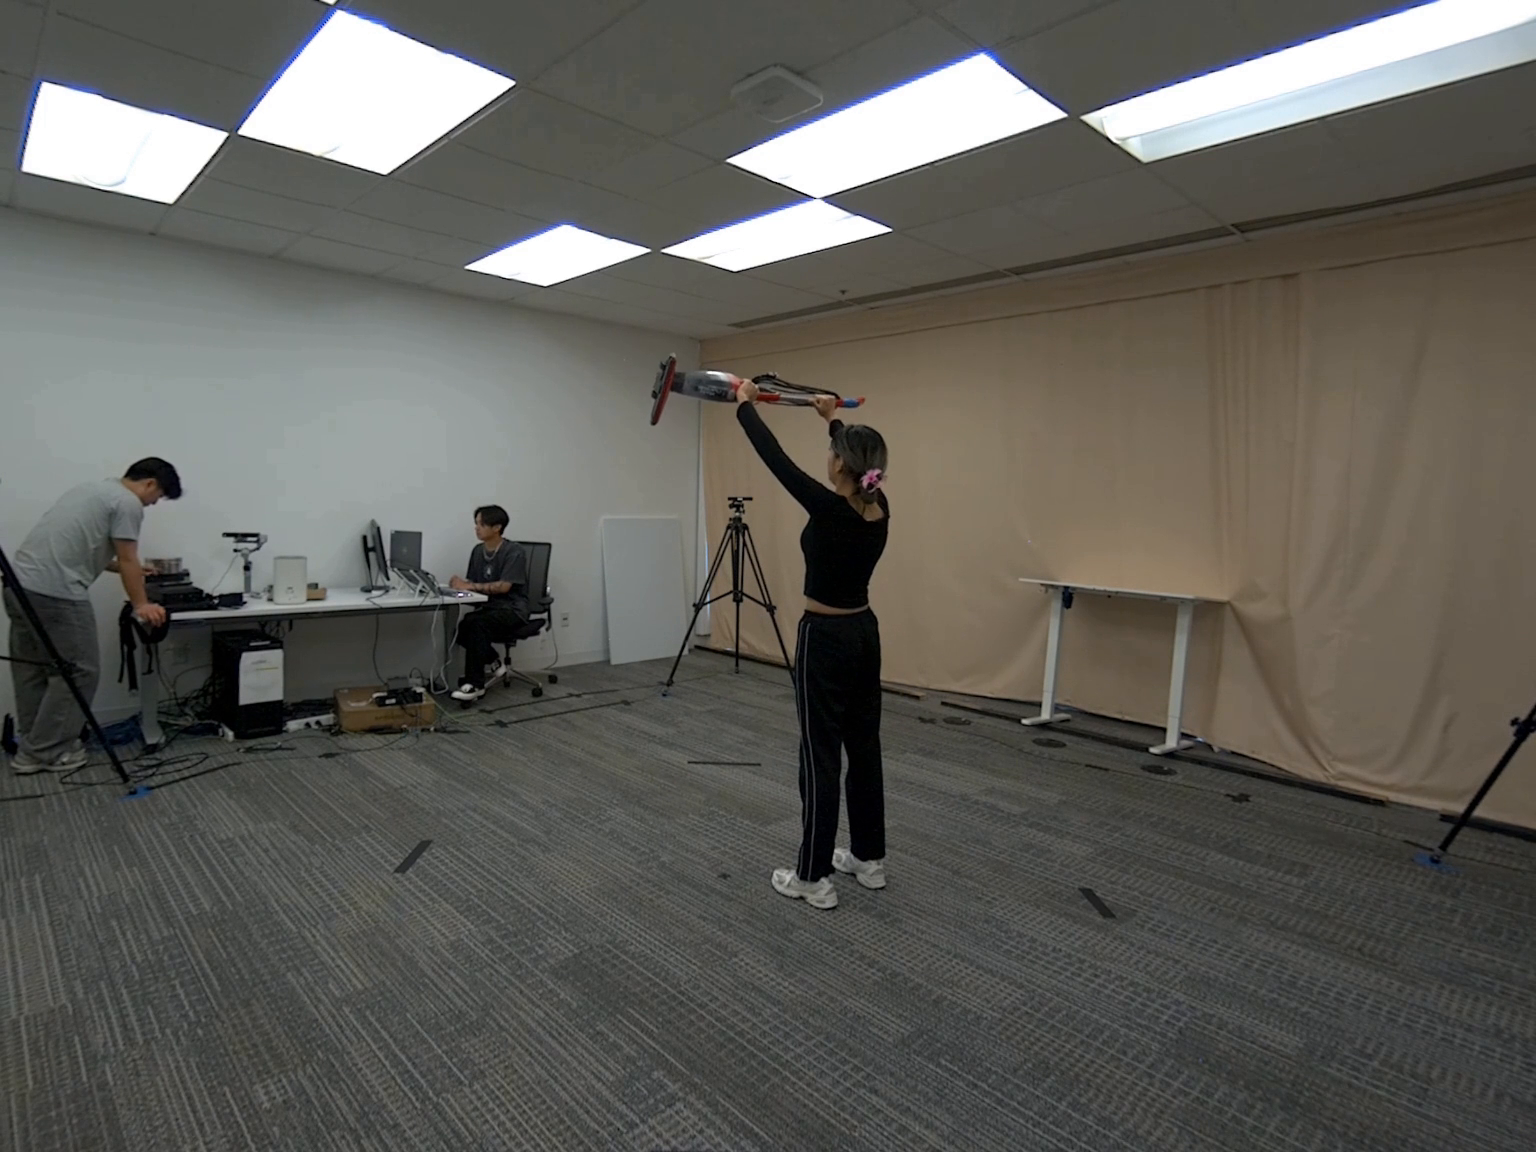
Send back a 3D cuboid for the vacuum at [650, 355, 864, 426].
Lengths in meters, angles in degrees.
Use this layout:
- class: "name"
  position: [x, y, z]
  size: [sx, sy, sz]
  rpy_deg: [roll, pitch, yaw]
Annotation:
- class: "vacuum"
  position: [-0.001, -0.692, 3.218]
  size: [1.027, 0.250, 0.148]
  rpy_deg: [-7, 40, -41]
